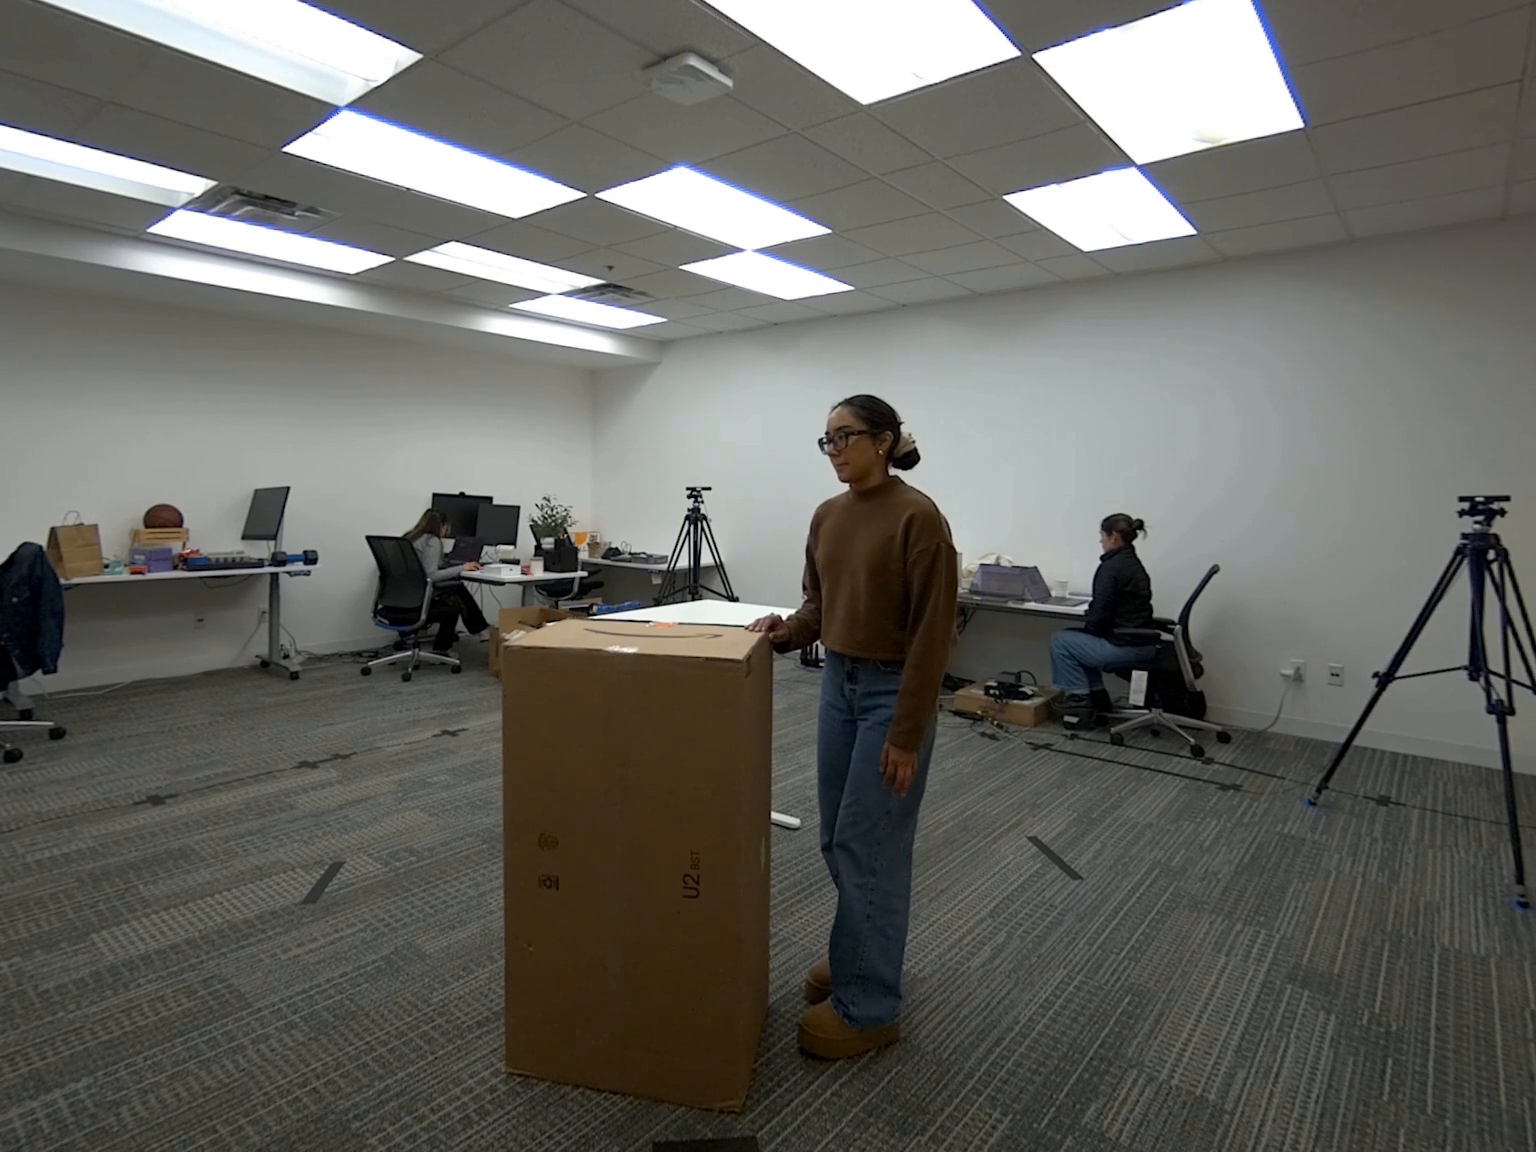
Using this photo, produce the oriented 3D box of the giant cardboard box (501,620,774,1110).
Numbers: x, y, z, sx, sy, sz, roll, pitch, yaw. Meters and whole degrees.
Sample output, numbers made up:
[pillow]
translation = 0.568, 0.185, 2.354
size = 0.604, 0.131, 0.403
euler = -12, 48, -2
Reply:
[giant cardboard box]
translation = -0.317, 0.653, 2.127
size = 0.585, 1.022, 0.422
euler = 1, 4, 12
